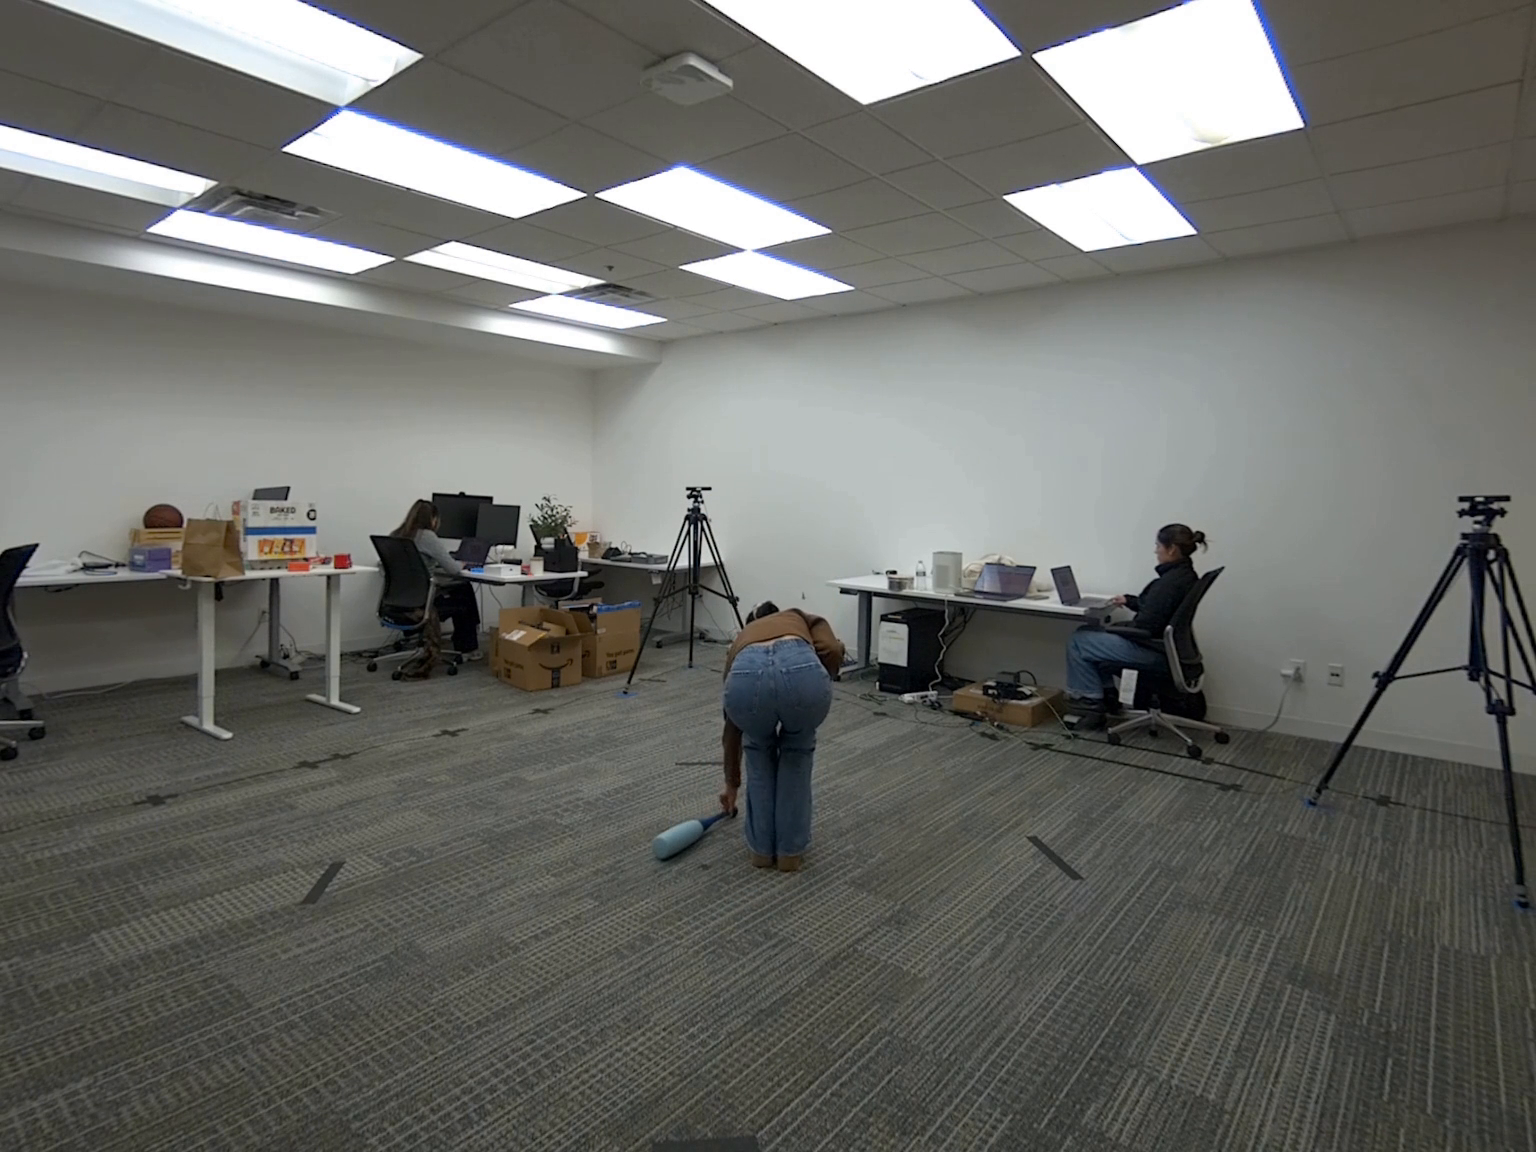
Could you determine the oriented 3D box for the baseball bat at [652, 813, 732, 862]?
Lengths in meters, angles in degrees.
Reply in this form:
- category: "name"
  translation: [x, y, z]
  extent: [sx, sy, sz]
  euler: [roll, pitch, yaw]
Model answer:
- category: "baseball bat"
  translation: [-0.286, 0.993, 3.390]
  extent: [0.092, 0.089, 0.528]
  euler: [3, 4, 30]
